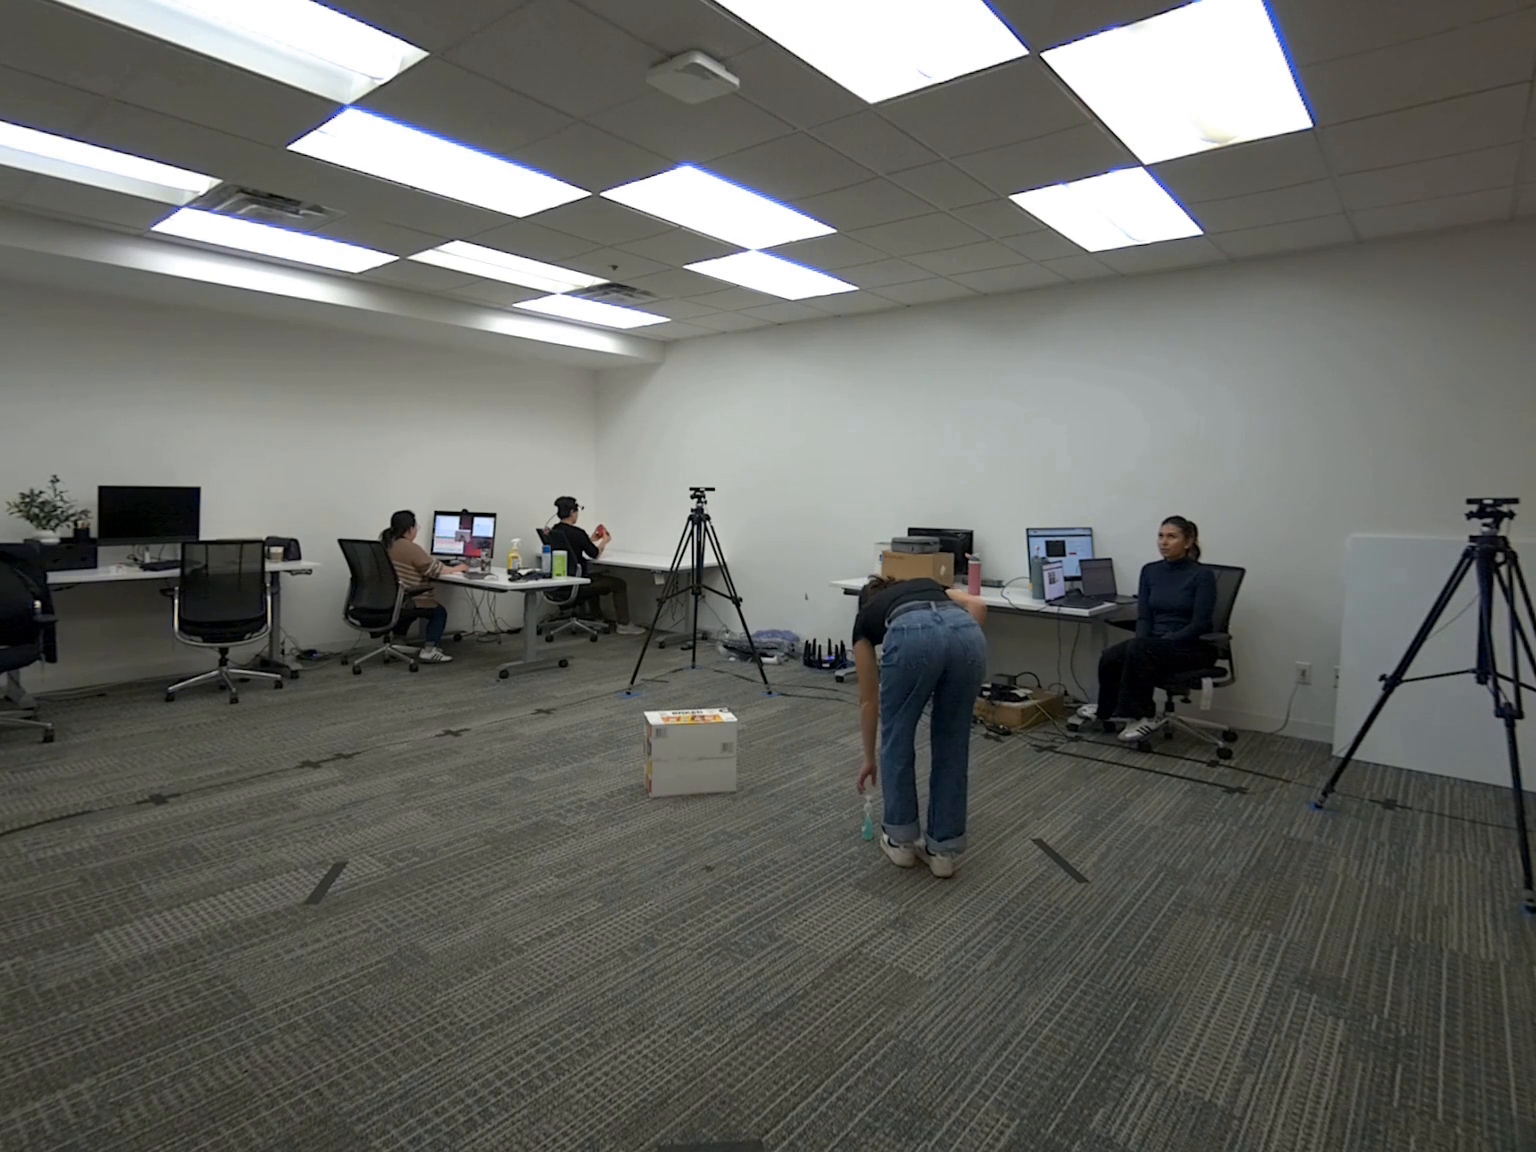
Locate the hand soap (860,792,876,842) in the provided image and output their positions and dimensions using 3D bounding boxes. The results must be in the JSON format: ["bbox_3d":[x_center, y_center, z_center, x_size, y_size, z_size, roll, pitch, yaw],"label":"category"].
[{"bbox_3d":[0.394,0.970,3.425,0.043,0.168,0.085,-1,2,-3],"label":"hand soap"}]
